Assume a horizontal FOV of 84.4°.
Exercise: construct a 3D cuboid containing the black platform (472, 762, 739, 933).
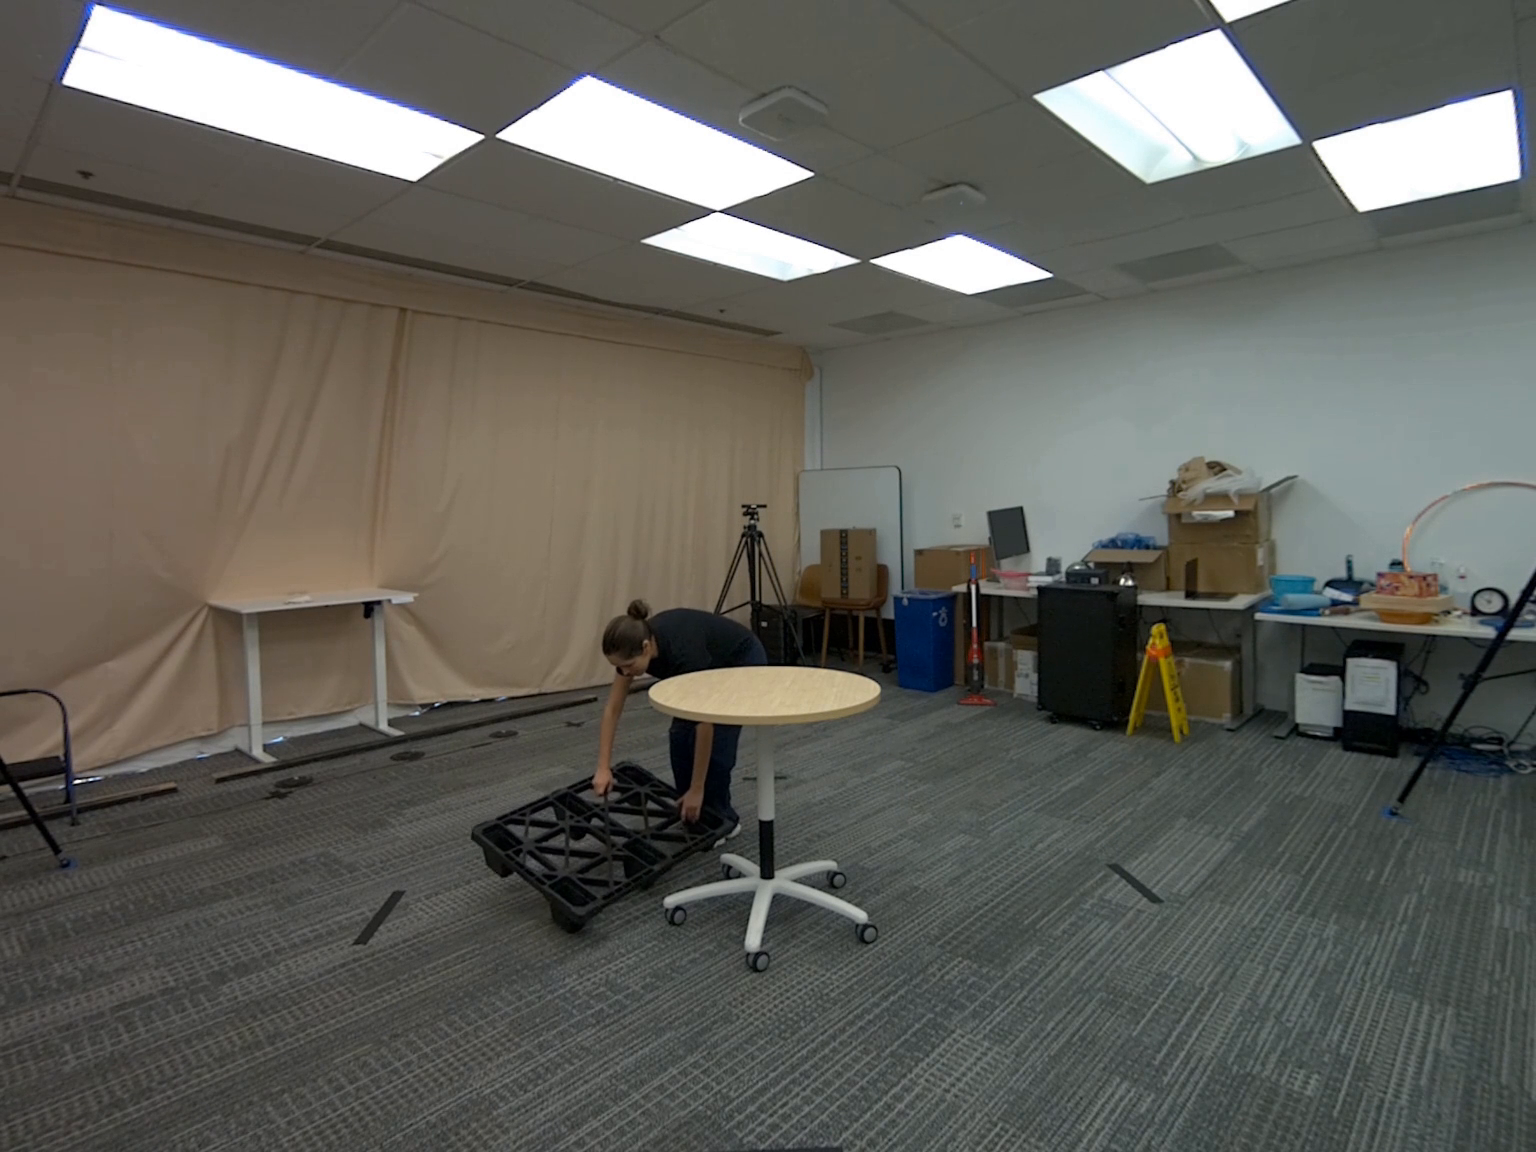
[{"bbox_3d":[-0.592,0.998,3.156,0.626,0.142,0.784,20,20,34],"label":"black platform"}]
